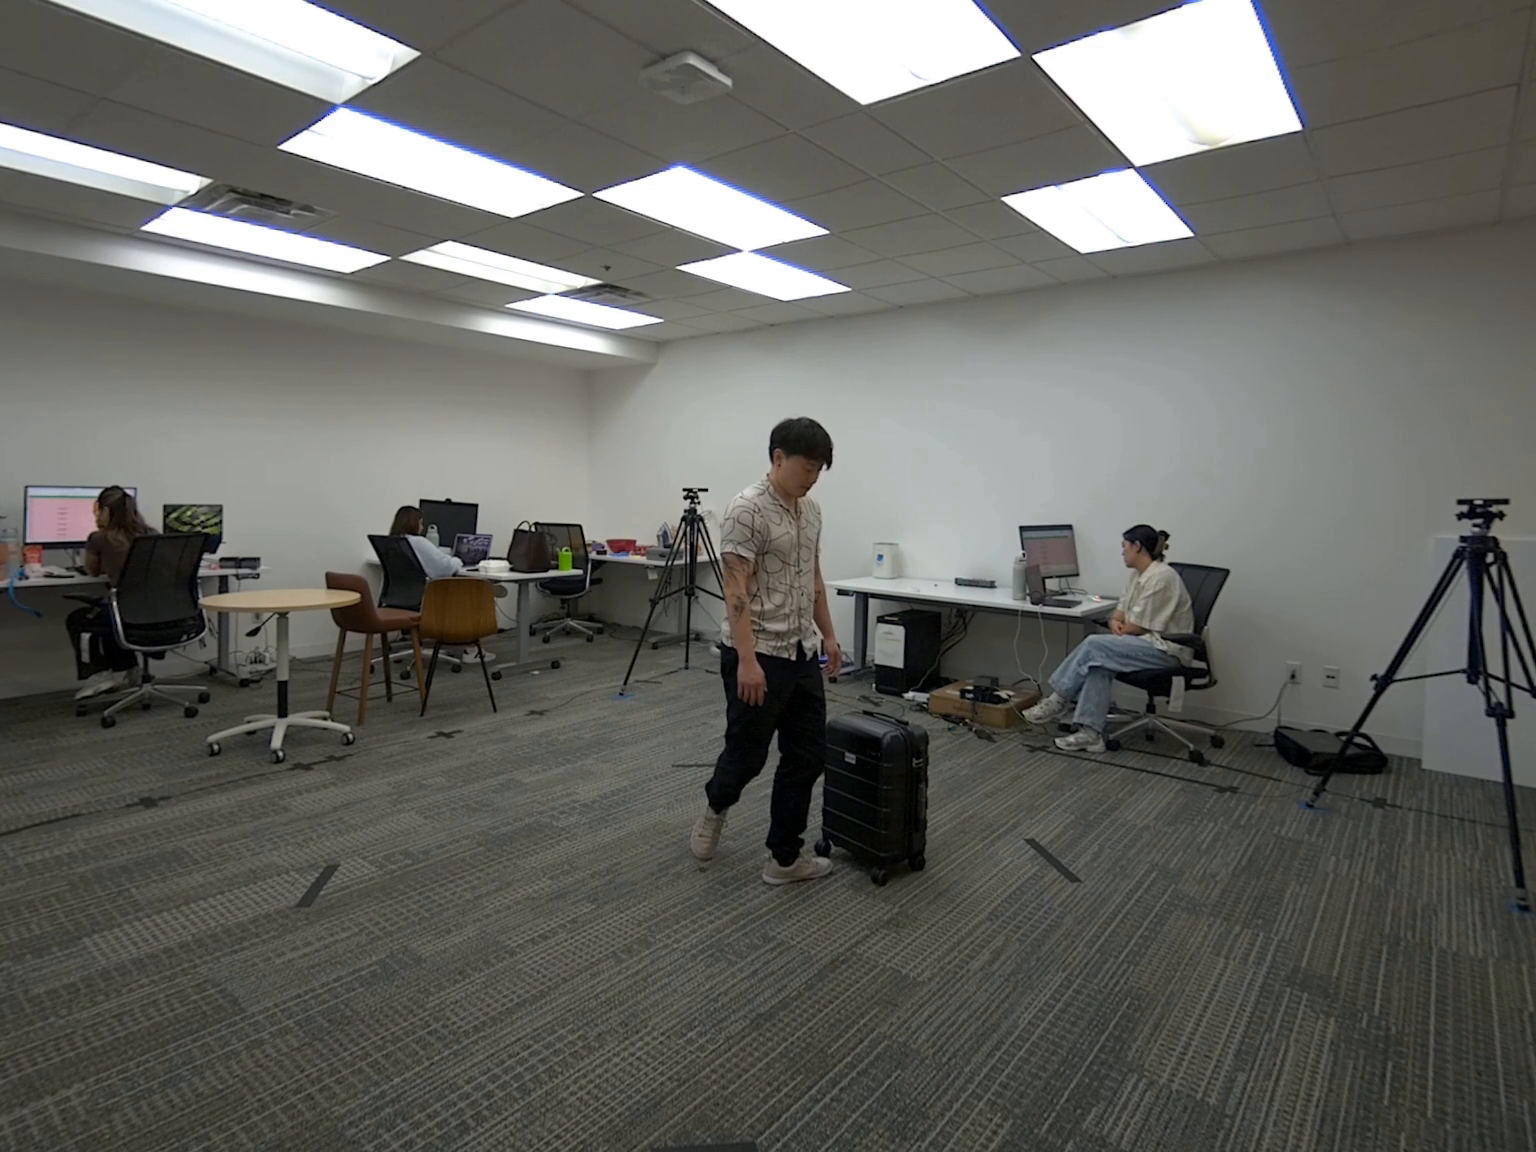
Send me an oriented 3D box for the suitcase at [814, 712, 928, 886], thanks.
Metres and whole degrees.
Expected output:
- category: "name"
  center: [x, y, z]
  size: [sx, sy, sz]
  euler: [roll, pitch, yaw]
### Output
- category: "suitcase"
  center: [0.396, 0.796, 3.206]
  size: [0.241, 0.548, 0.388]
  euler: [0, 4, -39]
